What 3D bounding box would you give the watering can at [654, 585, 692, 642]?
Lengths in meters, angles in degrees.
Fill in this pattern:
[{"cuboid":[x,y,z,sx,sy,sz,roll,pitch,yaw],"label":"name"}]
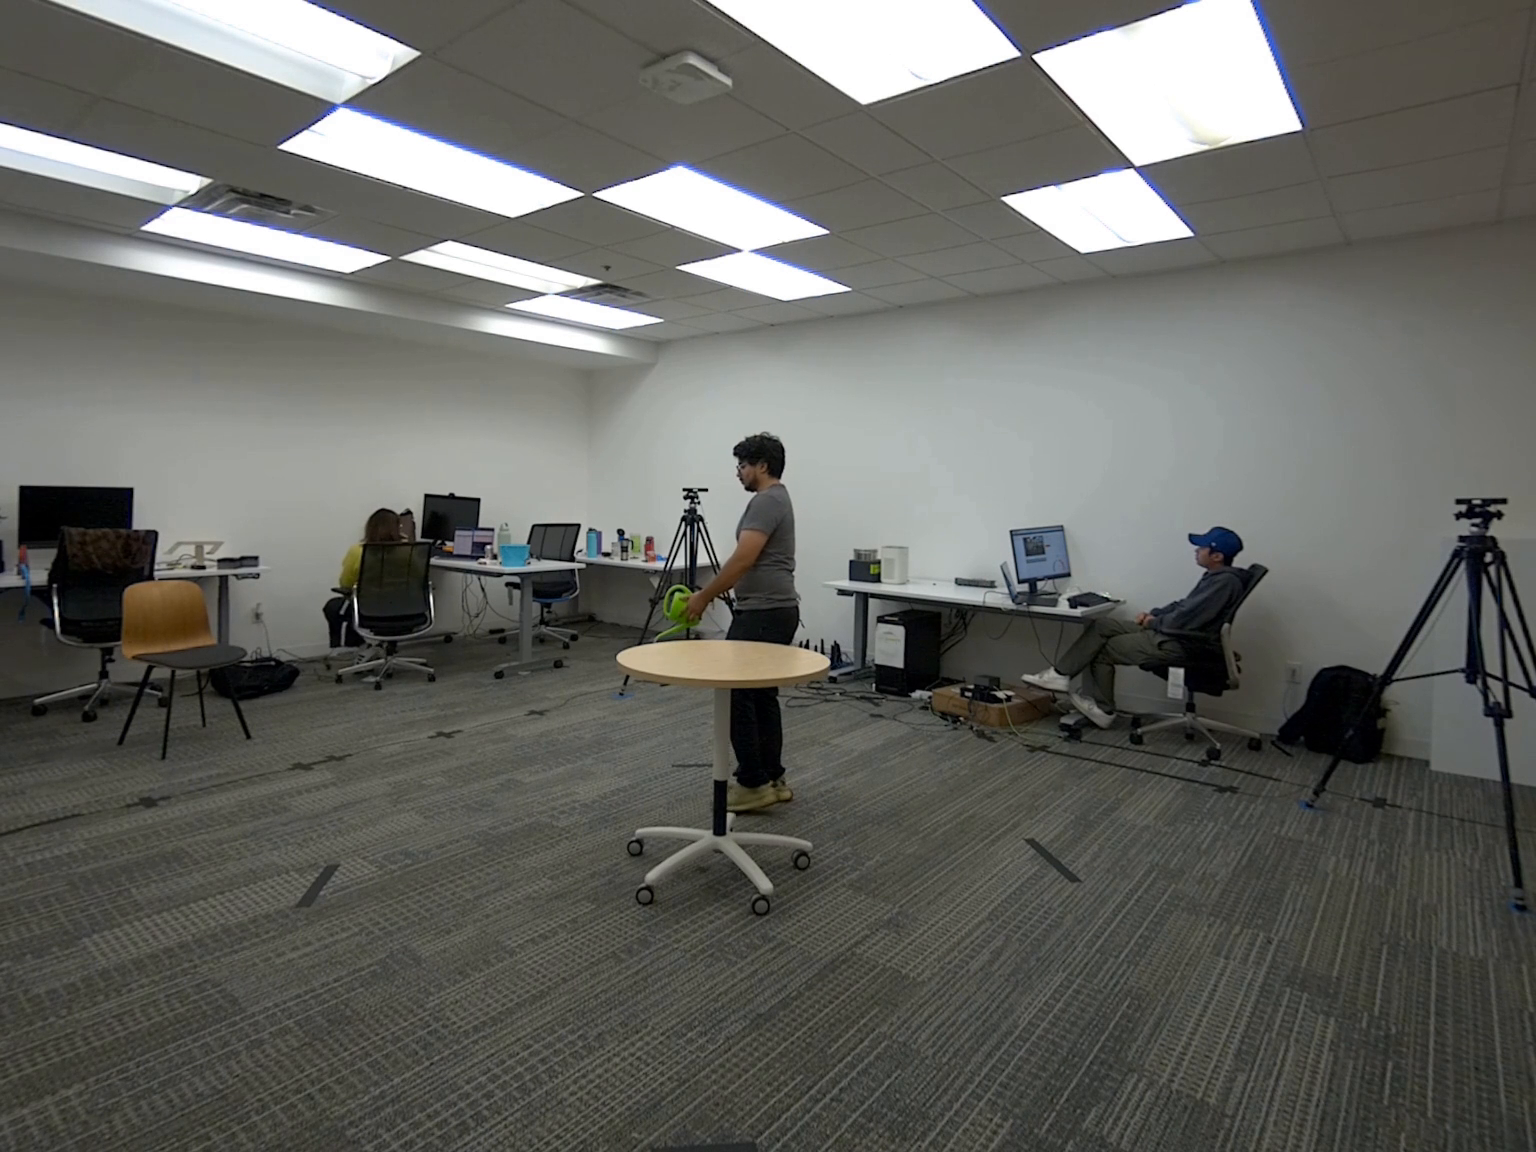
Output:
[{"cuboid":[-0.415,0.181,3.851,0.176,0.276,0.099,15,15,-4],"label":"watering can"}]
